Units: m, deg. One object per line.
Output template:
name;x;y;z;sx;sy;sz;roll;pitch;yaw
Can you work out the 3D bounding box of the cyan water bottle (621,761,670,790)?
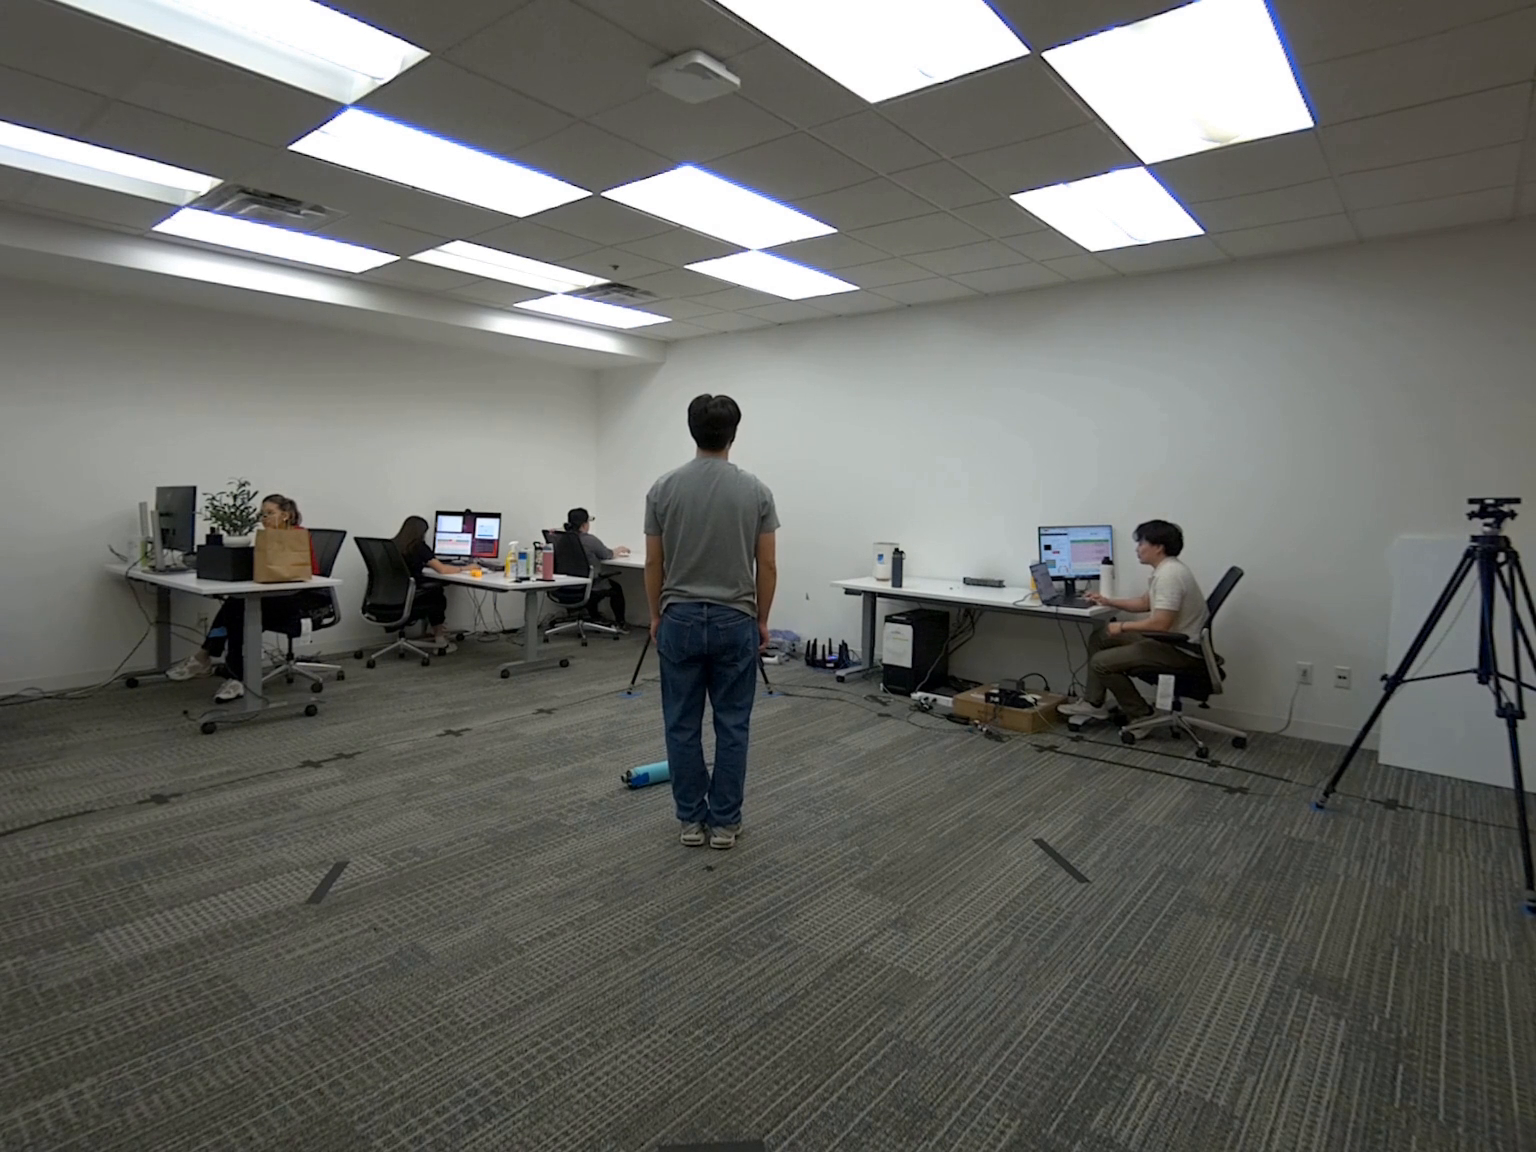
cyan water bottle;-0.567;0.927;4.001;0.275;0.092;0.095;-3;6;-38
